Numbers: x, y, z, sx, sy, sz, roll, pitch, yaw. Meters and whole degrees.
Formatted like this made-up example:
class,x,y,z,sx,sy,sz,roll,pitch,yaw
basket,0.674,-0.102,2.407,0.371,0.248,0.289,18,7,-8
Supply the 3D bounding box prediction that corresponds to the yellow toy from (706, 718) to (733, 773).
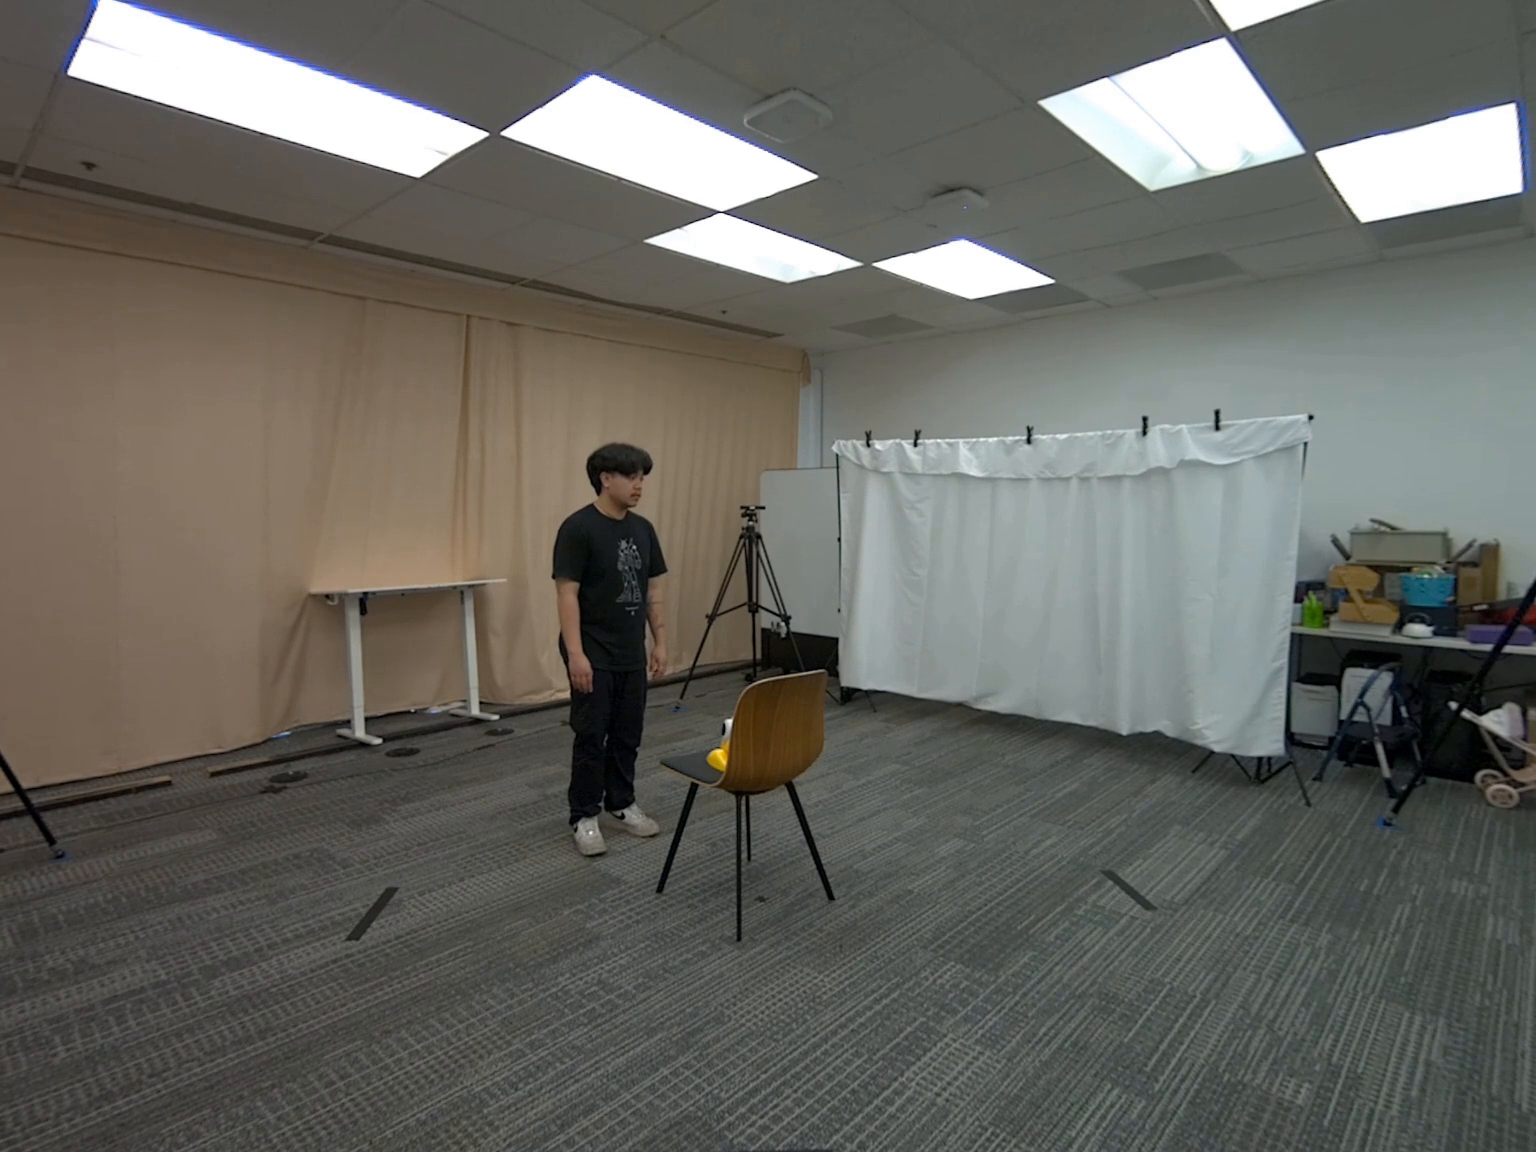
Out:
class,x,y,z,sx,sy,sz,roll,pitch,yaw
yellow toy,-0.099,0.555,2.979,0.198,0.230,0.200,-5,10,-42
